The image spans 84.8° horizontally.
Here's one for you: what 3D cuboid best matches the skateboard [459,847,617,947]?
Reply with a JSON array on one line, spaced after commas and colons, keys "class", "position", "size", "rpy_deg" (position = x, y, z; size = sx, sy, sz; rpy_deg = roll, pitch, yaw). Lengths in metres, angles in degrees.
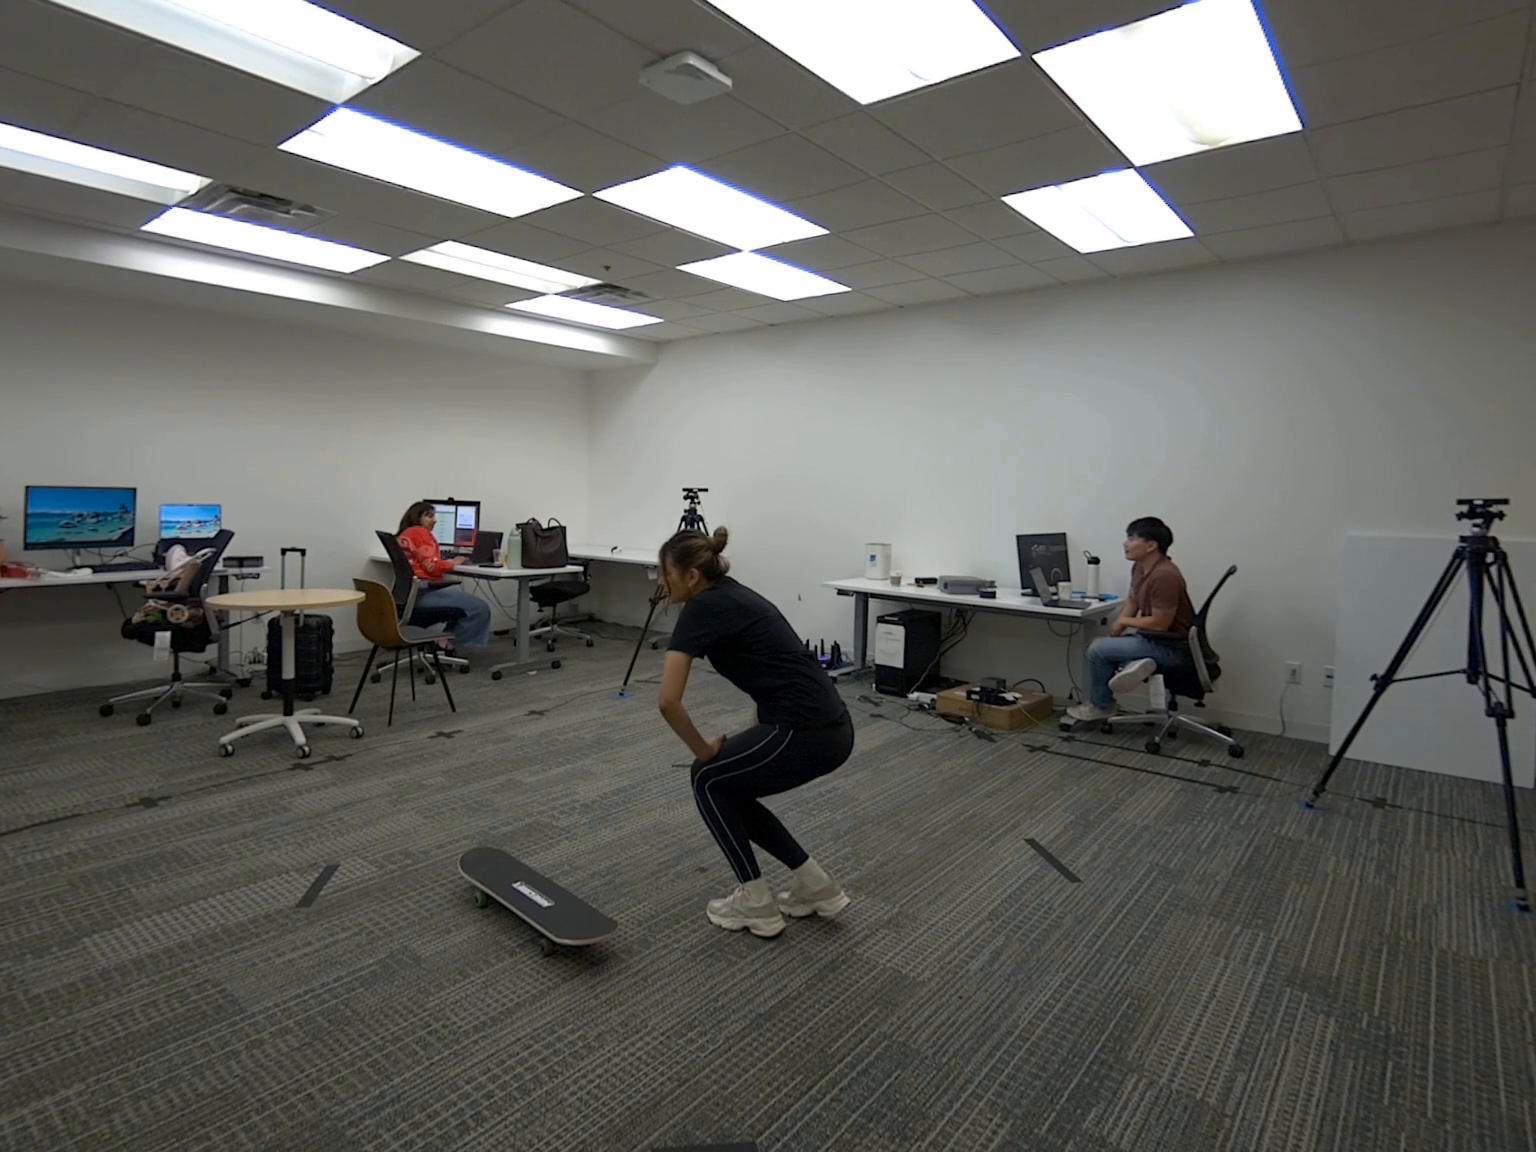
[{"class": "skateboard", "position": [-0.763, 1.044, 2.715], "size": [0.812, 0.110, 0.188], "rpy_deg": [6, 7, 44]}]
